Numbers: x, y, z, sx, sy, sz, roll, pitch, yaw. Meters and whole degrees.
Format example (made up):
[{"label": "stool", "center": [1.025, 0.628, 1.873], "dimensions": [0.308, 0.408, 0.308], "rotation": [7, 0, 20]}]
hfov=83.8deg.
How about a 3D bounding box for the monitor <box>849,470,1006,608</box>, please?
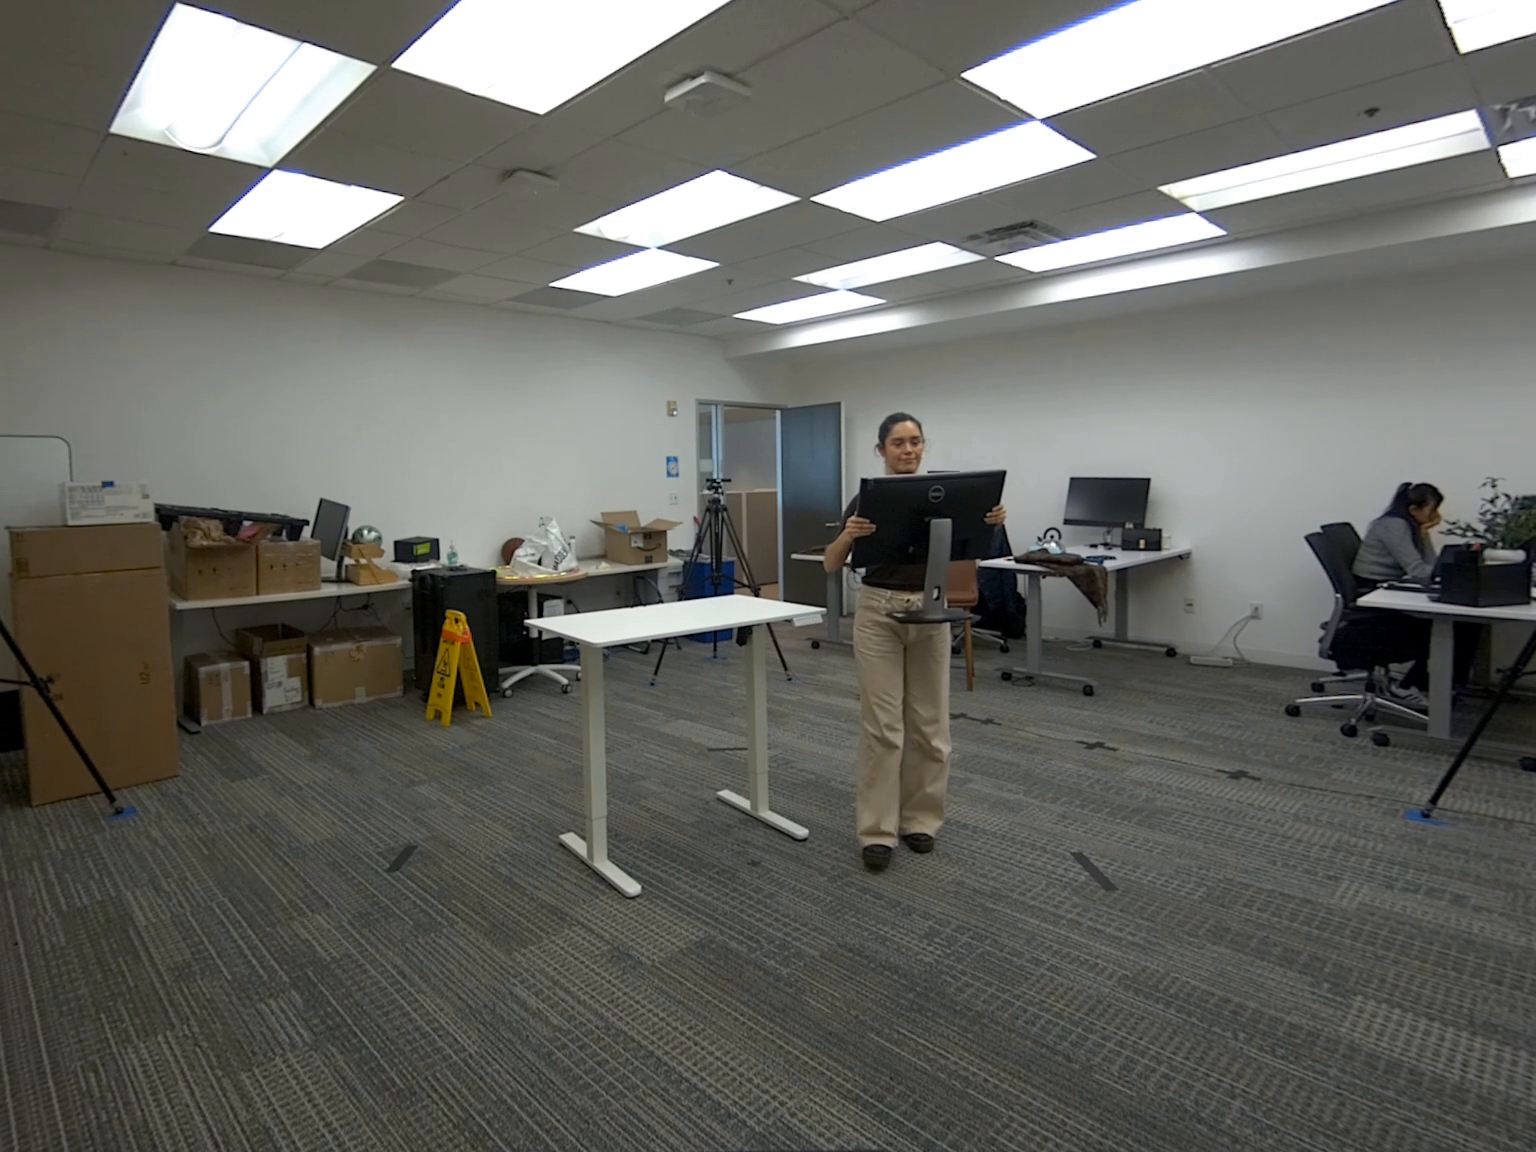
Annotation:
[{"label": "monitor", "center": [0.569, -0.099, 2.989], "dimensions": [0.532, 0.516, 0.191], "rotation": [-5, 13, -14]}]
